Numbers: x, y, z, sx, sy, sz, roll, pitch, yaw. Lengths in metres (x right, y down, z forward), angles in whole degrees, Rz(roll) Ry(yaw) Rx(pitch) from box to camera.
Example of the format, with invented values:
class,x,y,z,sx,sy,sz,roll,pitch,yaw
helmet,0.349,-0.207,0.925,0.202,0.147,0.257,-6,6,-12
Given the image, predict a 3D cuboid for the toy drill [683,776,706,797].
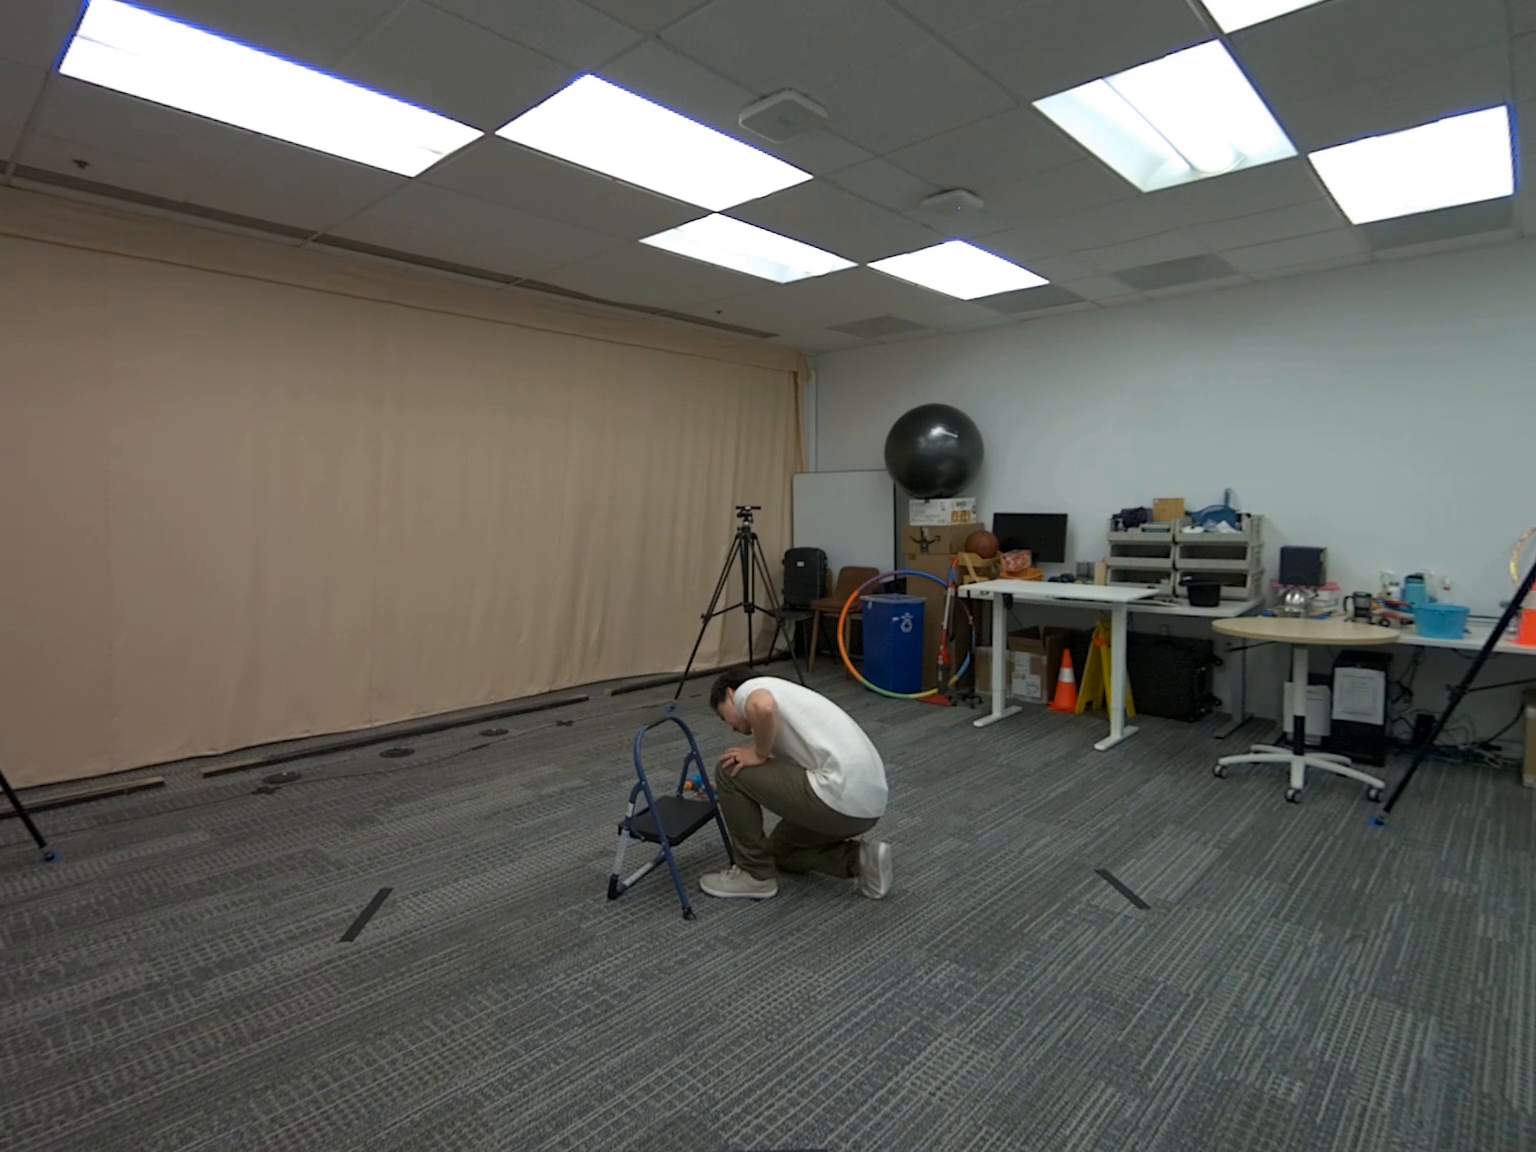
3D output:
class,x,y,z,sx,sy,sz,roll,pitch,yaw
toy drill,-0.264,0.862,3.380,0.149,0.061,0.166,34,15,17
